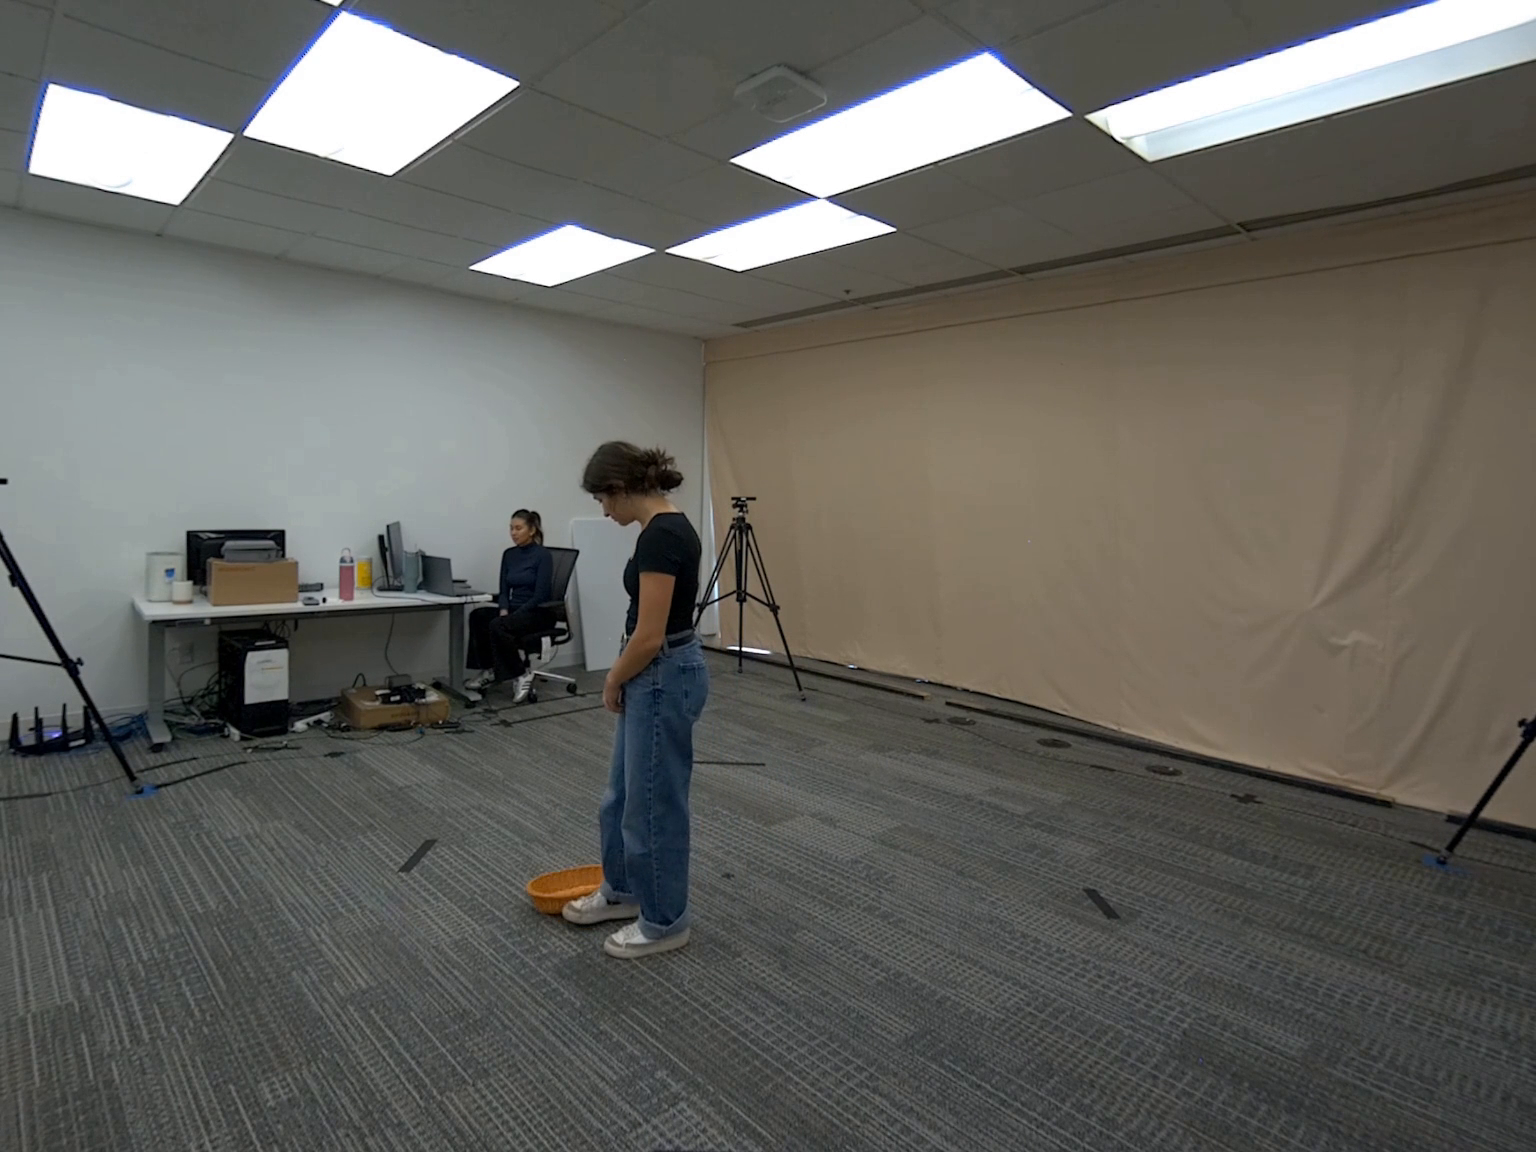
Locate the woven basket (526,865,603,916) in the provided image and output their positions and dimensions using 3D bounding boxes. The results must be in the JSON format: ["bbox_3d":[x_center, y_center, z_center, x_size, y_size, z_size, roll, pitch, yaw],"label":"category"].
[{"bbox_3d":[-0.652,1.070,2.871,0.344,0.073,0.257,-2,0,-26],"label":"woven basket"}]
